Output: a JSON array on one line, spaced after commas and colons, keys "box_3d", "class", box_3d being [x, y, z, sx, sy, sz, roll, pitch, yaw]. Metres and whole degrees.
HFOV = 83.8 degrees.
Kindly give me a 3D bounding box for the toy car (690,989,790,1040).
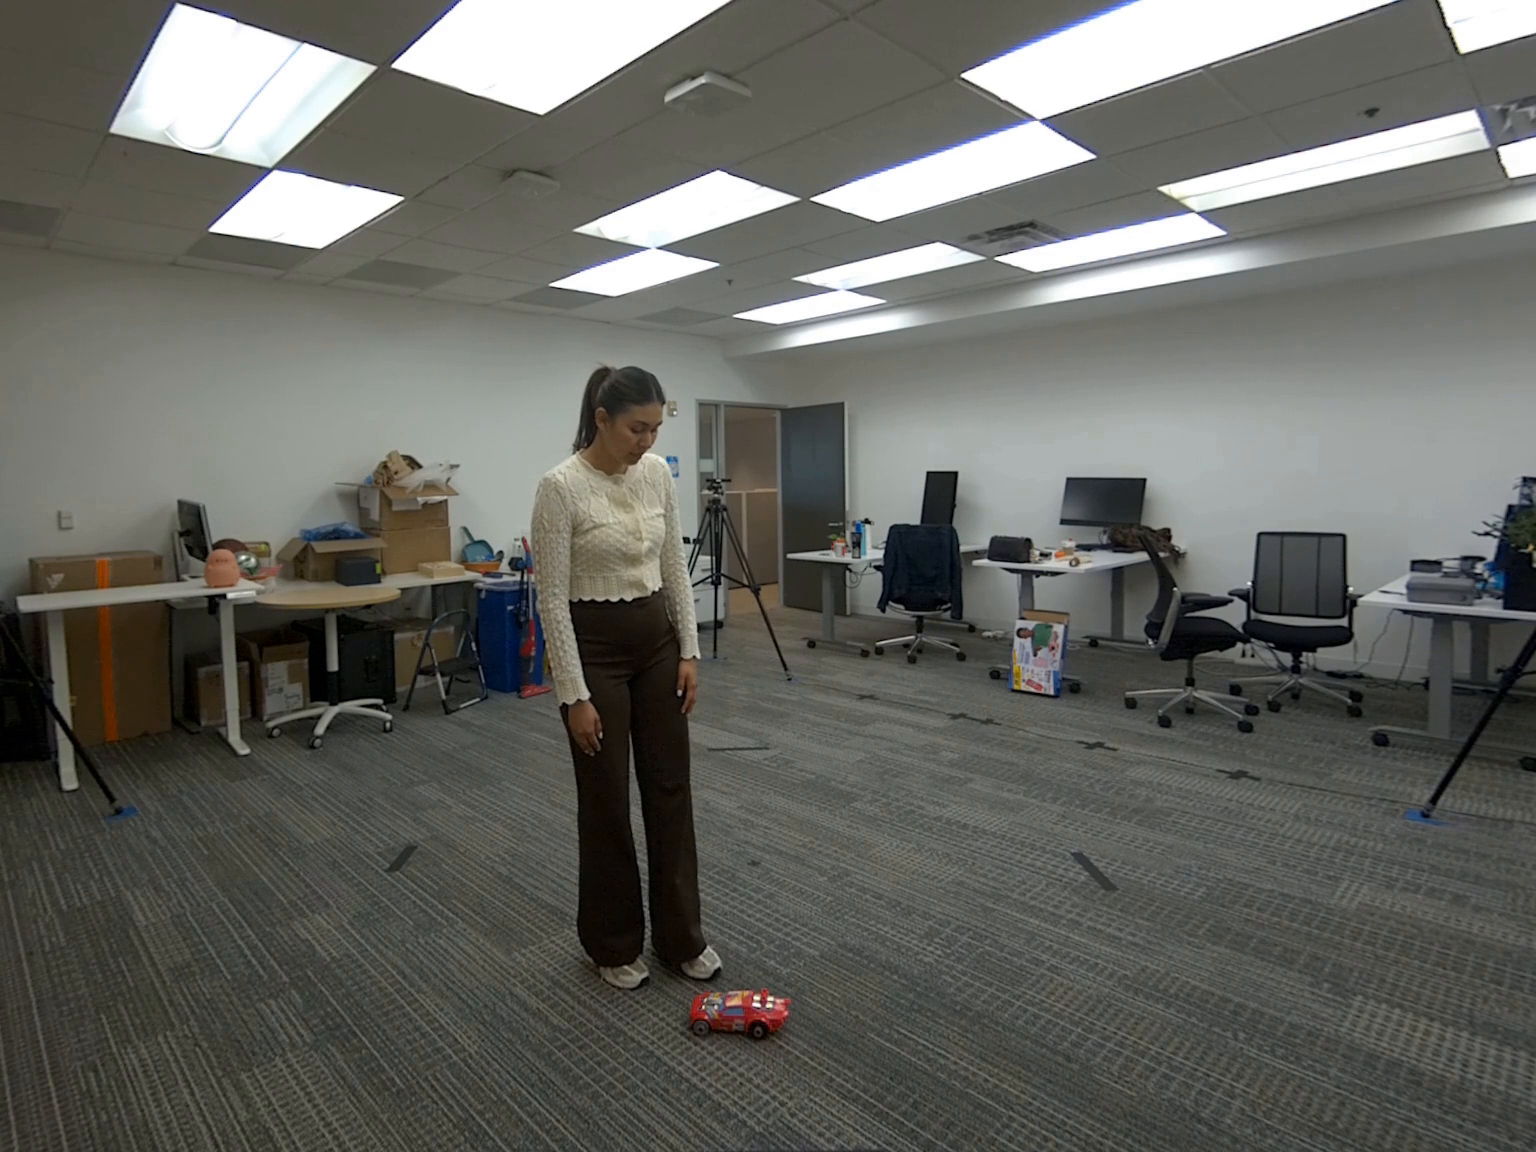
[{"box_3d": [-0.057, 1.124, 2.184, 0.256, 0.083, 0.130, -13, 4, 7], "class": "toy car"}]
